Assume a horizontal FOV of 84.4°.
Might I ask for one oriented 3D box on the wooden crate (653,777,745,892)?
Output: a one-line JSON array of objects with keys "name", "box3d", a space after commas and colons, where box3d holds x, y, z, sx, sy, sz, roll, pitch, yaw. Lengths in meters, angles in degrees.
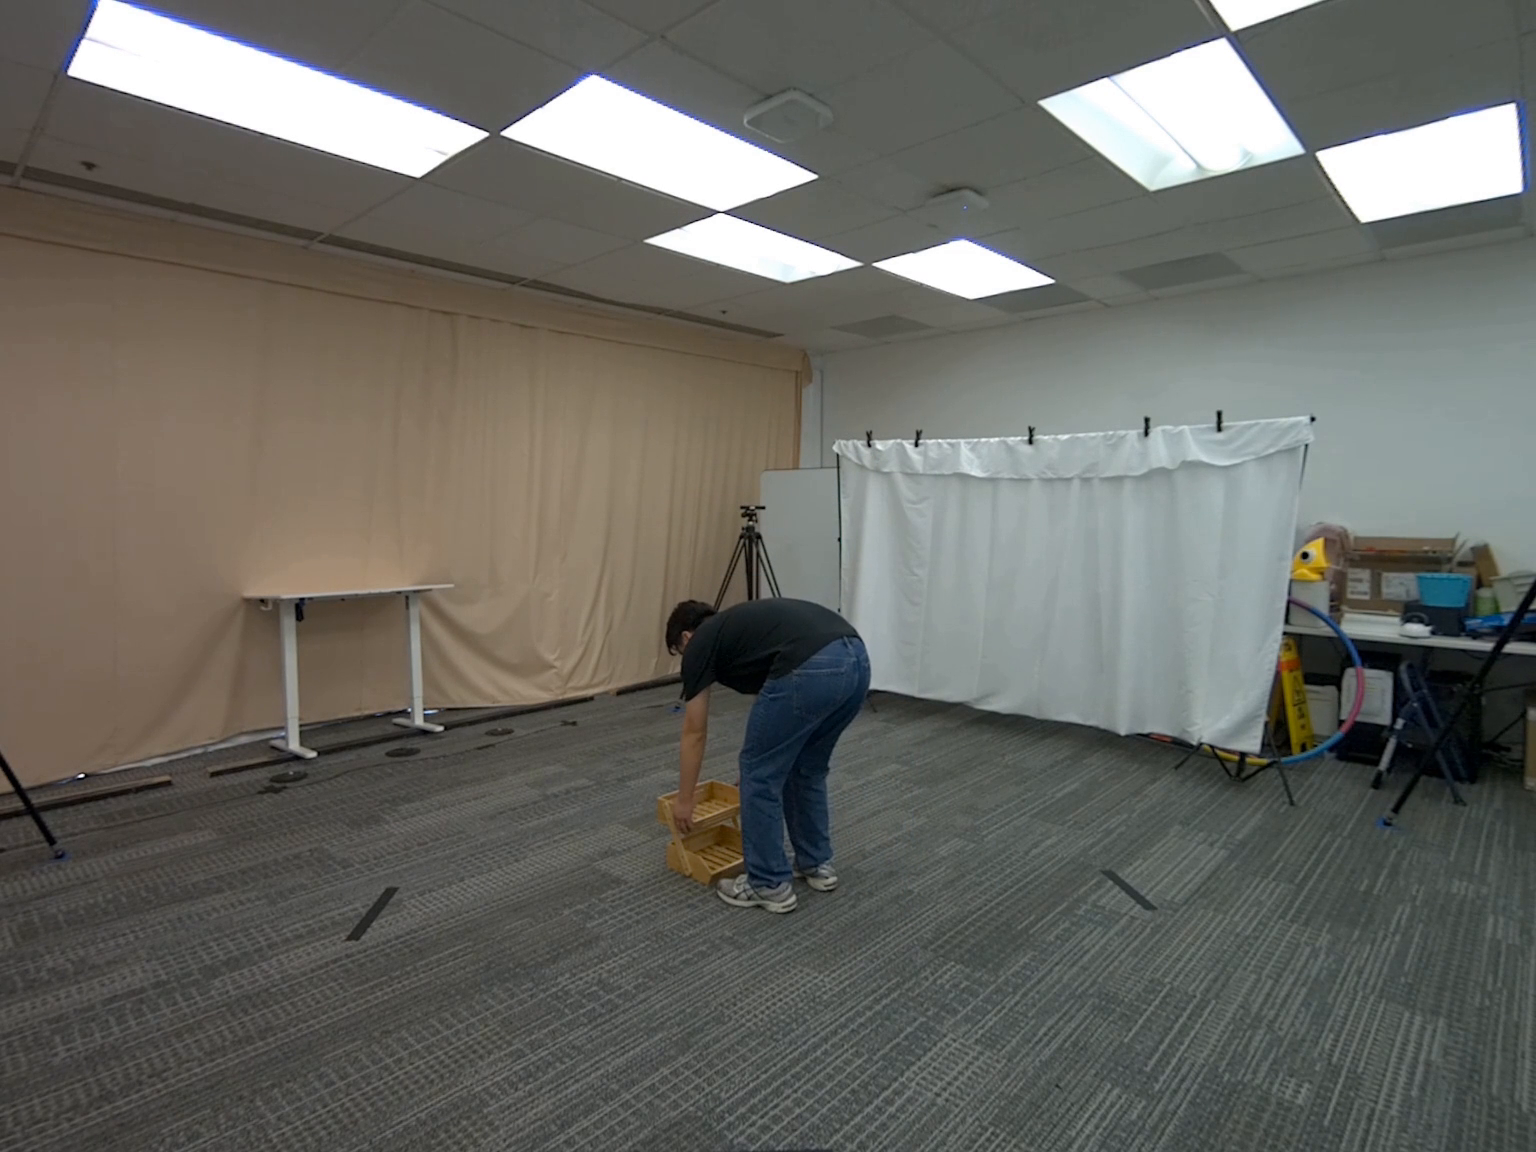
[{"name": "wooden crate", "box3d": [-0.222, 0.986, 3.279, 0.312, 0.273, 0.314, 3, 6, 44]}]
